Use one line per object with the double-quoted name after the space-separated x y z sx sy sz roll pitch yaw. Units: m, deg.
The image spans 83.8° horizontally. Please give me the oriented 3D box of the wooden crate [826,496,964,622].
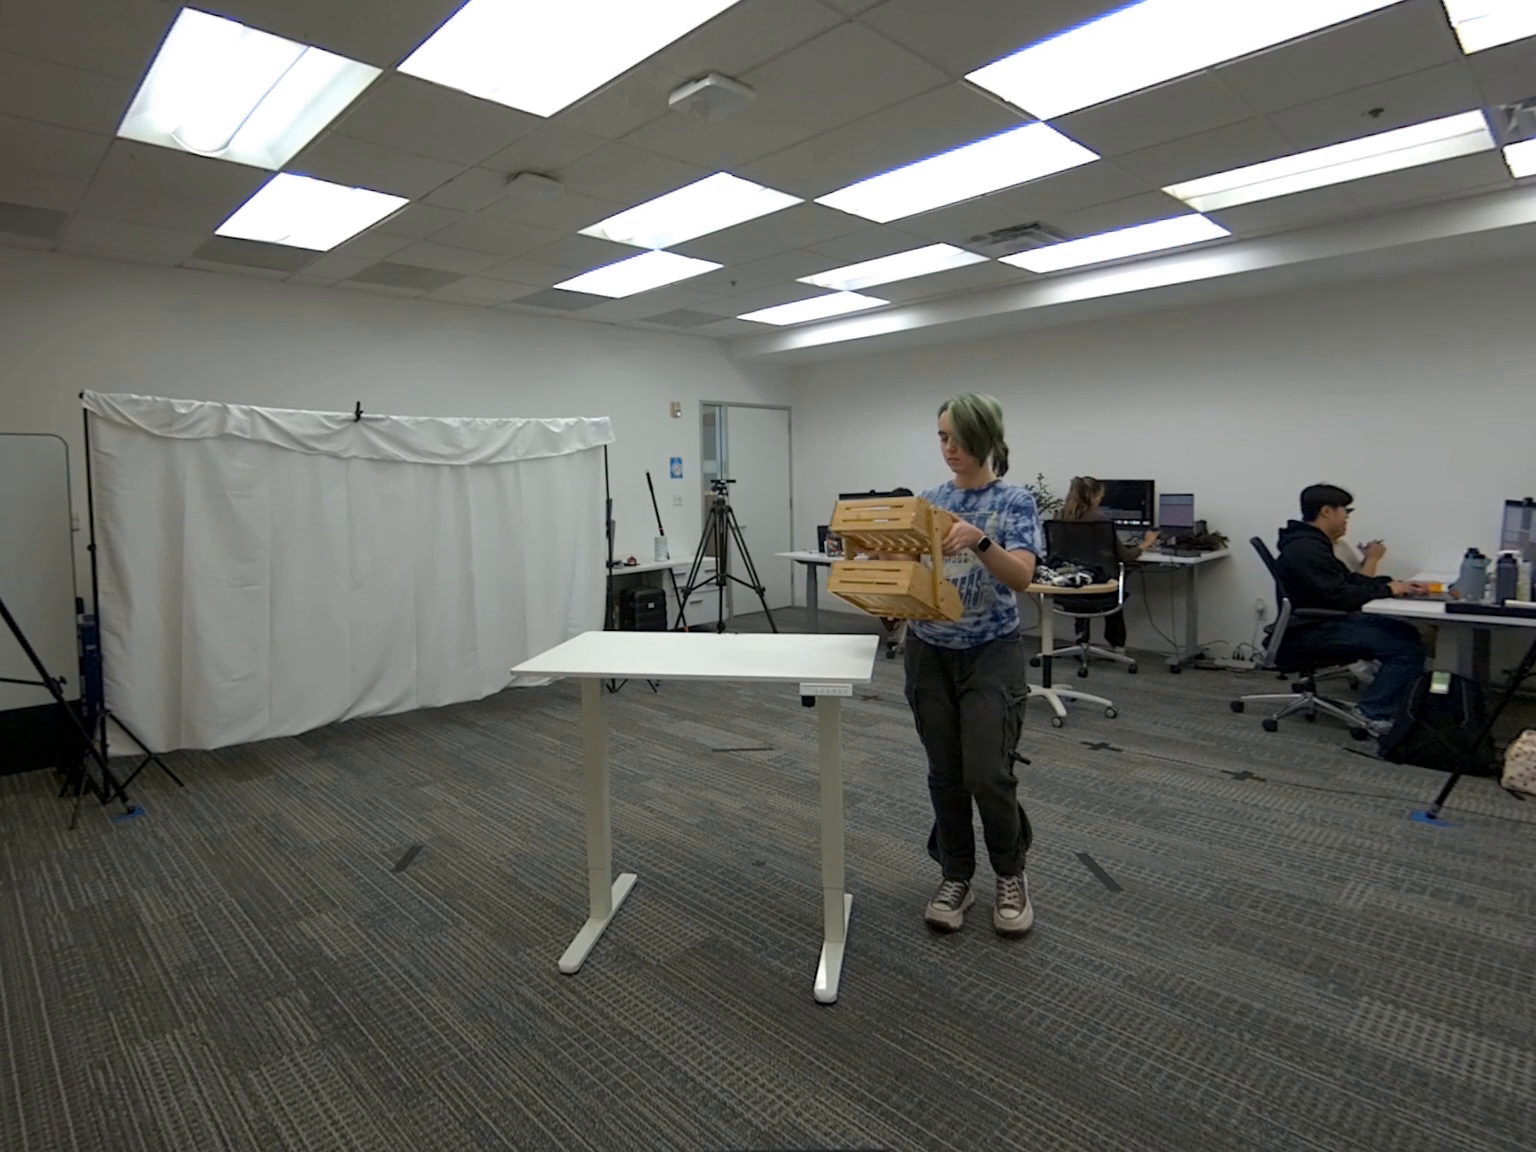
0.379 -0.044 2.441 0.291 0.276 0.334 27 -18 -39 "wooden crate"
